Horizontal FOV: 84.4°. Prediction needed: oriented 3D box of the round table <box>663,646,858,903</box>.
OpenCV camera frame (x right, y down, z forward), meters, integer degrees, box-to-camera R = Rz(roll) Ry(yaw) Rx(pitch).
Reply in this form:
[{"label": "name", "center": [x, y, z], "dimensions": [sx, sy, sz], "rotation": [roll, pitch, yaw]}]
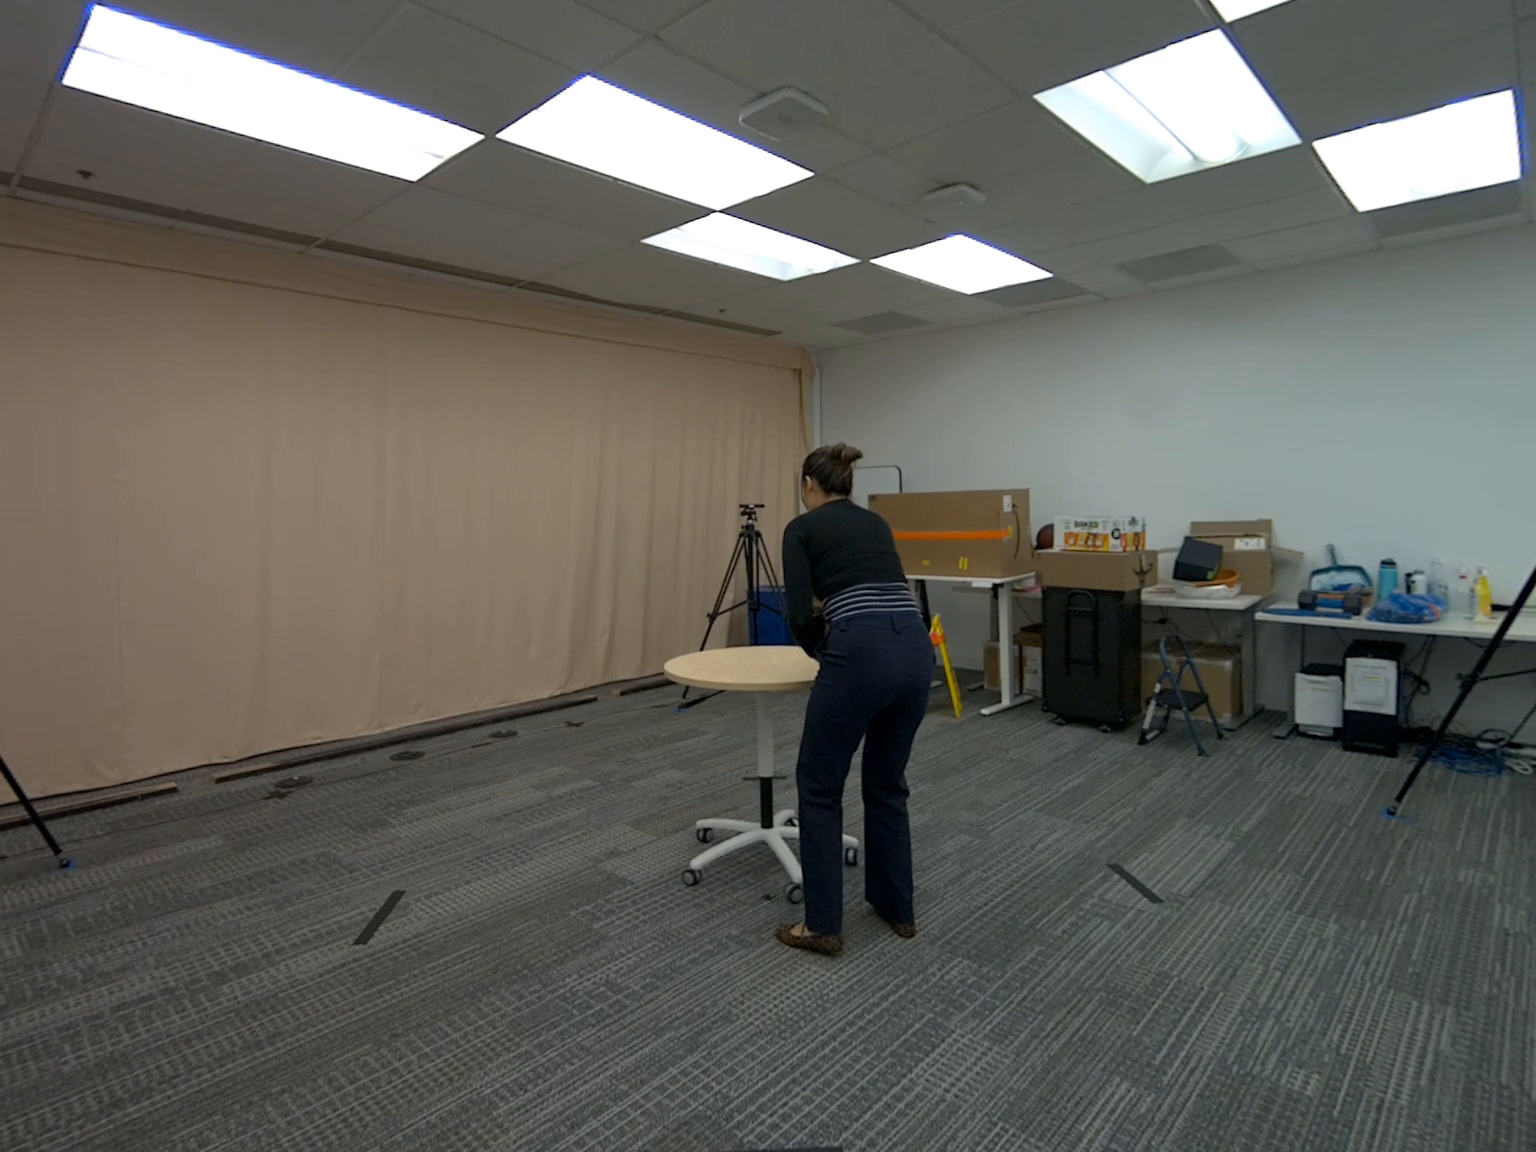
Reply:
[{"label": "round table", "center": [-0.015, 0.726, 3.258], "dimensions": [0.763, 0.792, 0.766], "rotation": [-2, 3, -2]}]
